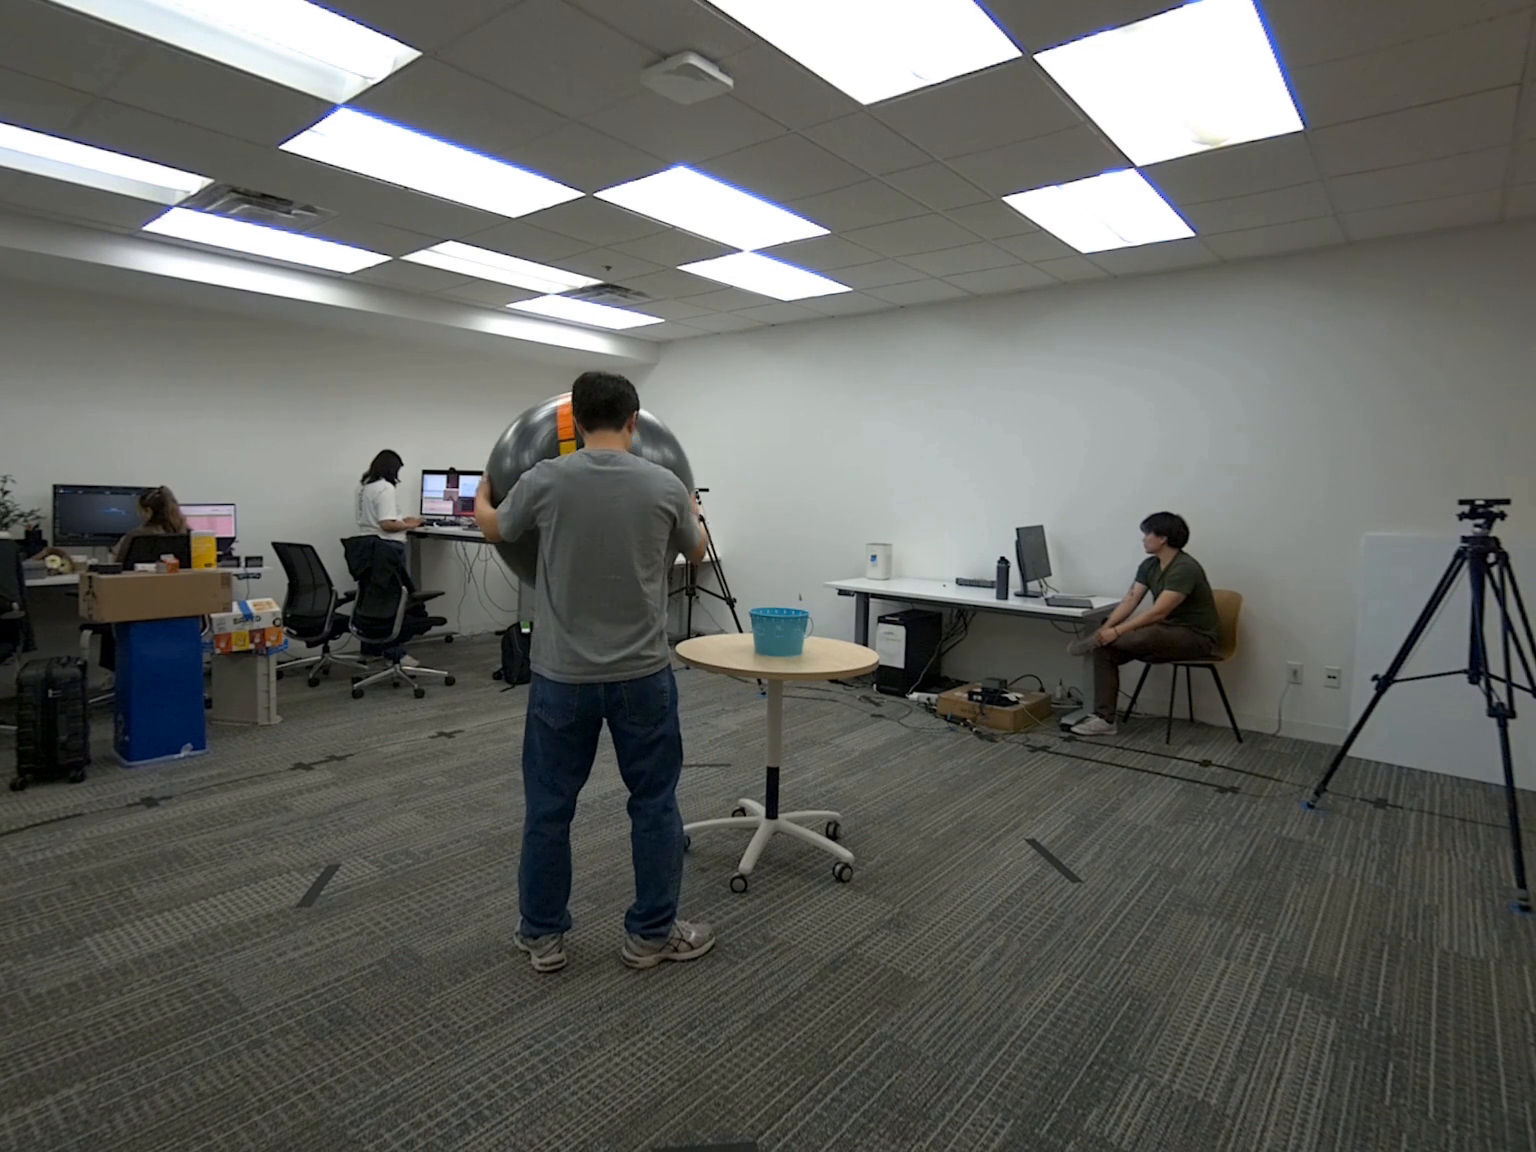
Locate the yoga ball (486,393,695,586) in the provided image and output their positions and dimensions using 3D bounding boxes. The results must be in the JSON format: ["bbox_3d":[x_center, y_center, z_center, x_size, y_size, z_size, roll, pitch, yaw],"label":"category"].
[{"bbox_3d":[-0.648,-0.268,3.060,0.757,0.755,0.762,1,4,-2],"label":"yoga ball"}]
